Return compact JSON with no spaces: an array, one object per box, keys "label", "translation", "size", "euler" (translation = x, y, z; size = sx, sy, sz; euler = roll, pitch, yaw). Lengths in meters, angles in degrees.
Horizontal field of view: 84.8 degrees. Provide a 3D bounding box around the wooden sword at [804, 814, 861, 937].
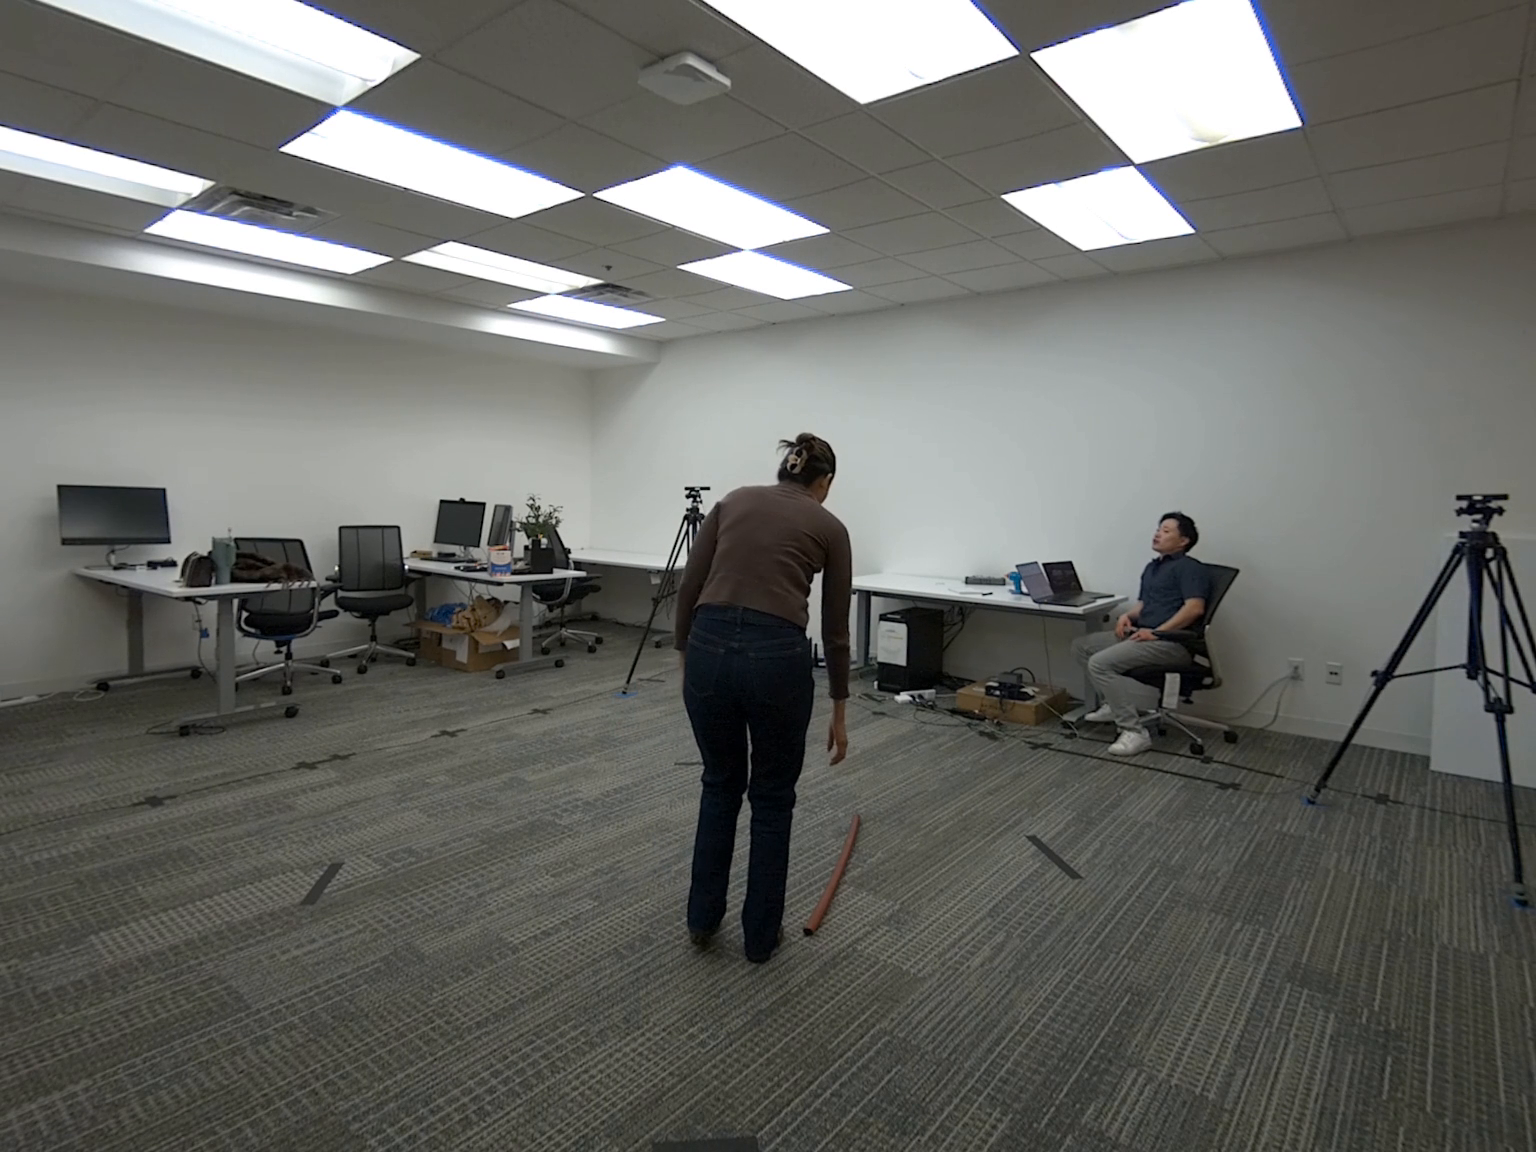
[{"label":"wooden sword","translation":[0.252,1.048,3.130],"size":[0.052,0.024,1.011],"euler":[-14,1,15]}]
